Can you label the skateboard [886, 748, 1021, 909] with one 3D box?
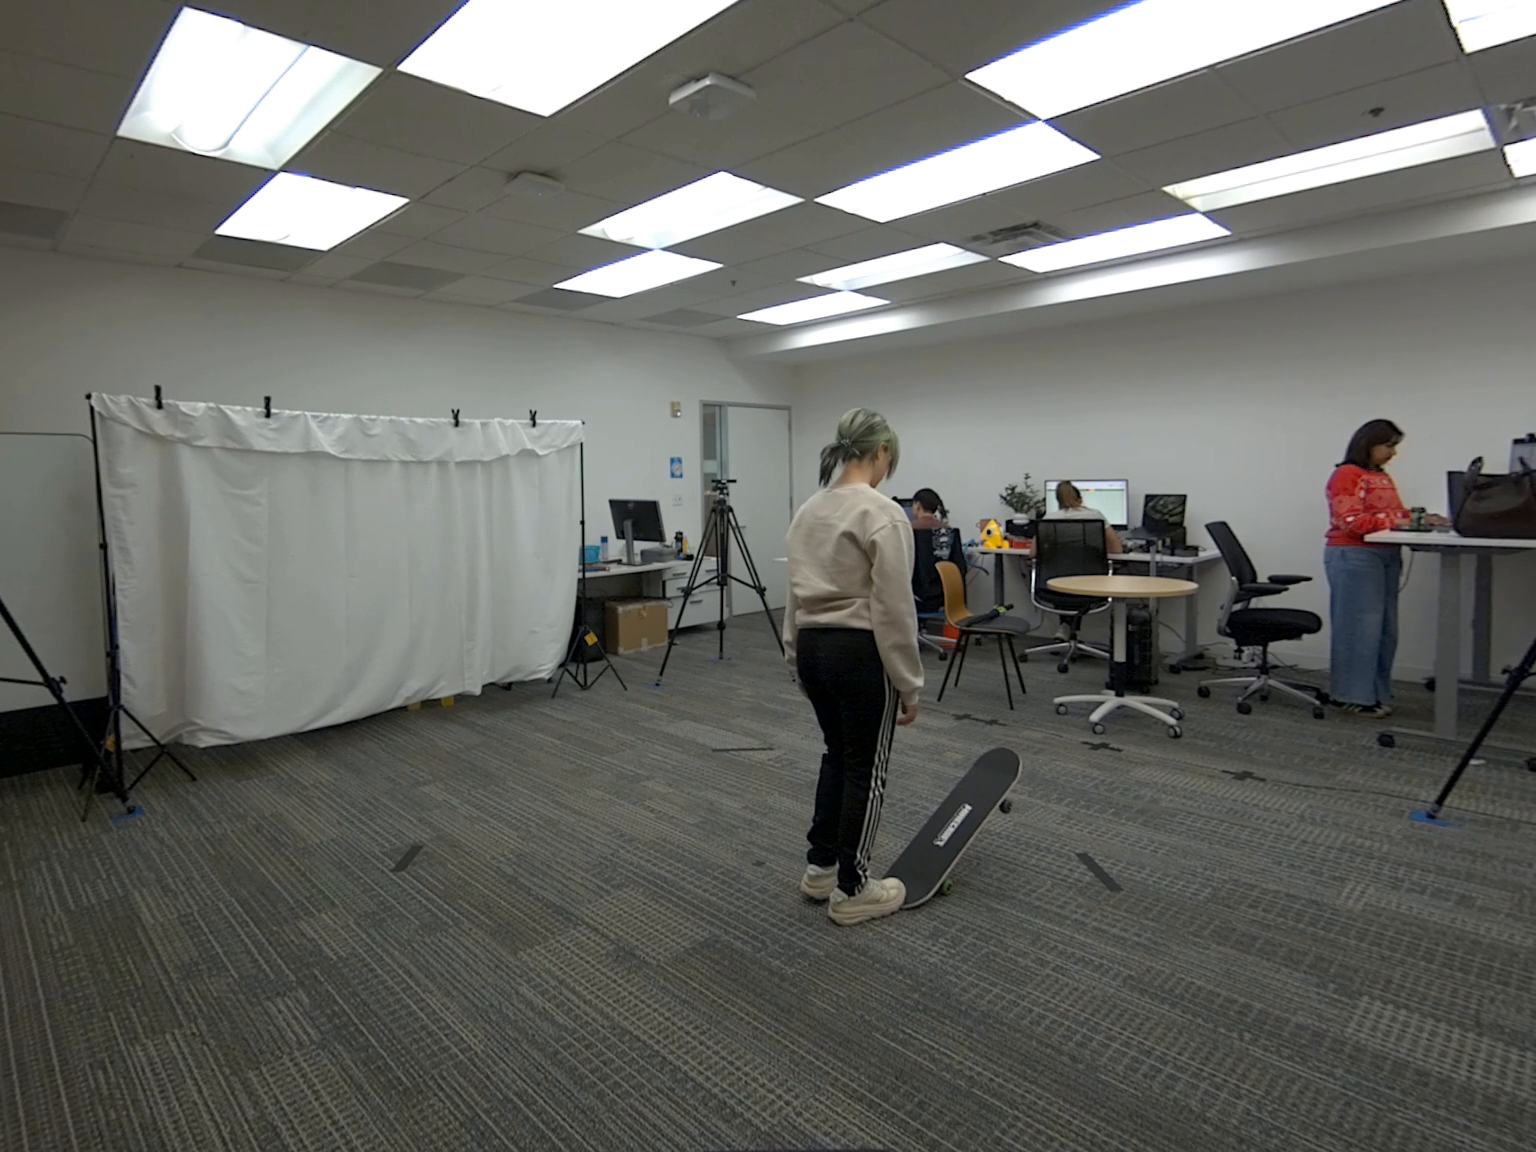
[{"bbox_3d":[0.668,0.902,3.007,0.781,0.108,0.199,-39,27,-31],"label":"skateboard"}]
